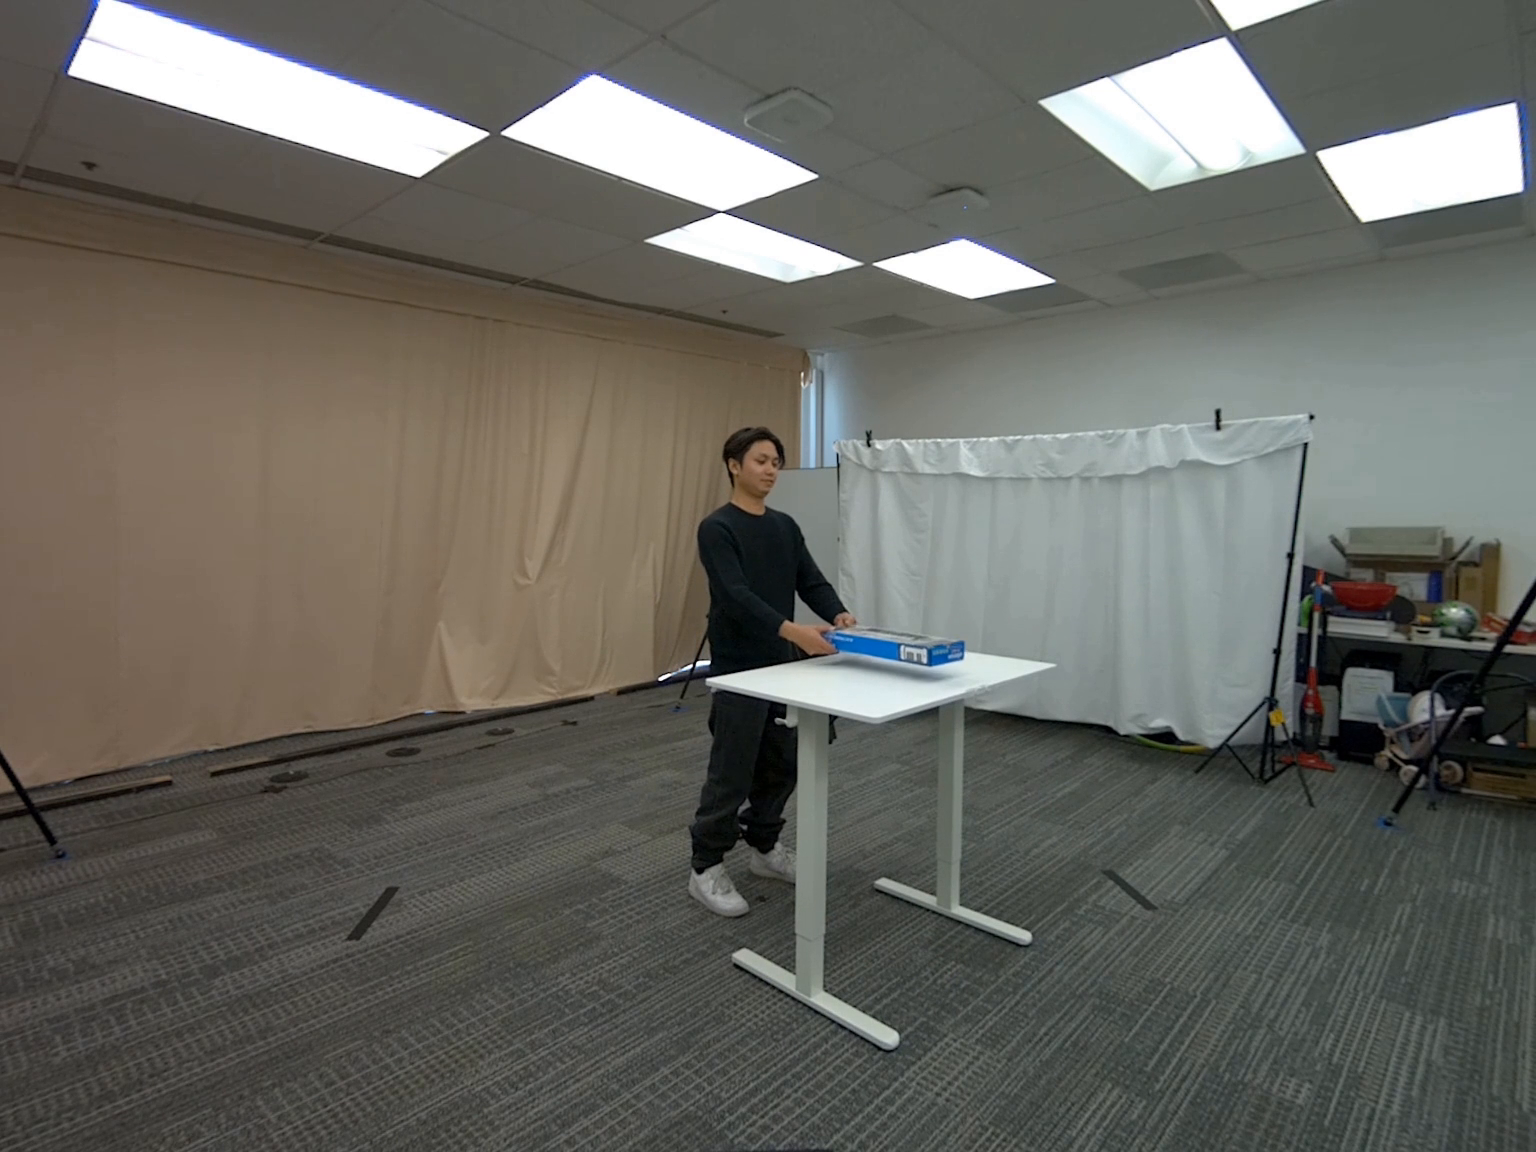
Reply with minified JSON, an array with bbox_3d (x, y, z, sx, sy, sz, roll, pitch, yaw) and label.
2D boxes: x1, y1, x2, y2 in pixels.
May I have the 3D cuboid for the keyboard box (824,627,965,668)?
[{"bbox_3d":[0.383,0.213,2.598,0.170,0.059,0.451,-4,5,-41],"label":"keyboard box"}]
